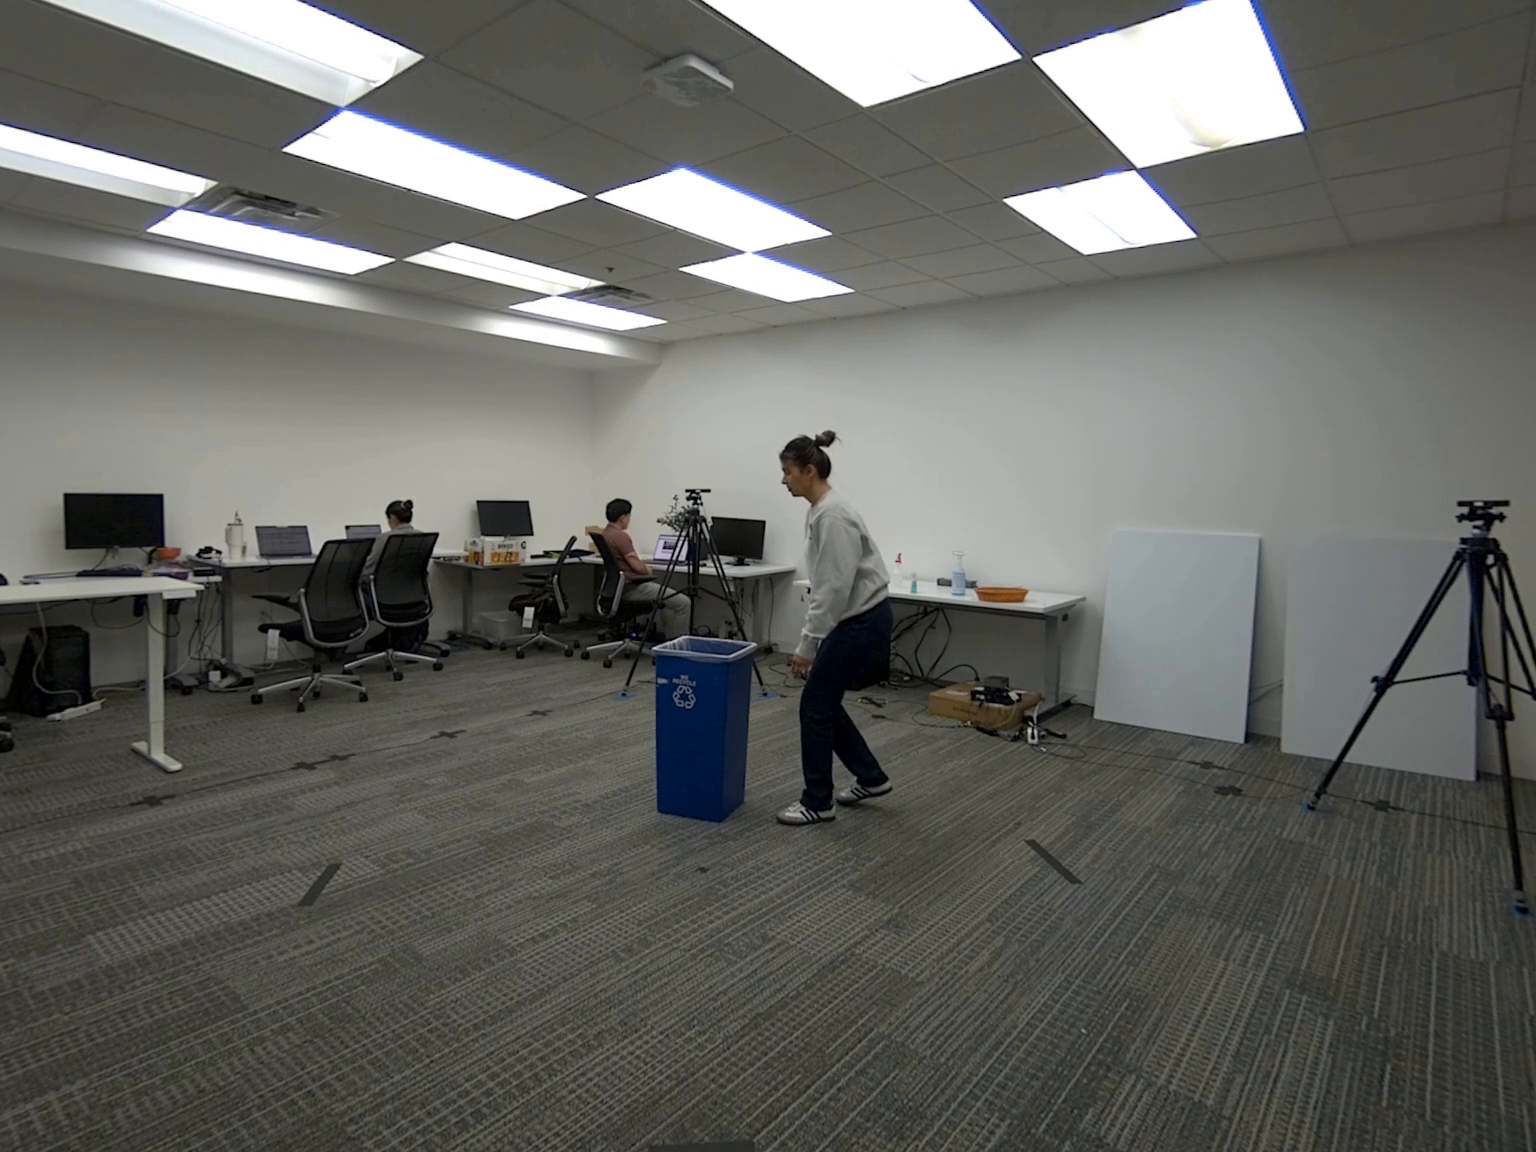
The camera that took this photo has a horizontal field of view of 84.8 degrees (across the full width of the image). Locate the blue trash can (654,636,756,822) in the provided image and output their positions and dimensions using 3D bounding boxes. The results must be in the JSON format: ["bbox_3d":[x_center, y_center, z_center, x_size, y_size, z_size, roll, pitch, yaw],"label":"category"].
[{"bbox_3d":[-0.288,0.655,3.732,0.382,0.711,0.371,2,4,20],"label":"blue trash can"}]
